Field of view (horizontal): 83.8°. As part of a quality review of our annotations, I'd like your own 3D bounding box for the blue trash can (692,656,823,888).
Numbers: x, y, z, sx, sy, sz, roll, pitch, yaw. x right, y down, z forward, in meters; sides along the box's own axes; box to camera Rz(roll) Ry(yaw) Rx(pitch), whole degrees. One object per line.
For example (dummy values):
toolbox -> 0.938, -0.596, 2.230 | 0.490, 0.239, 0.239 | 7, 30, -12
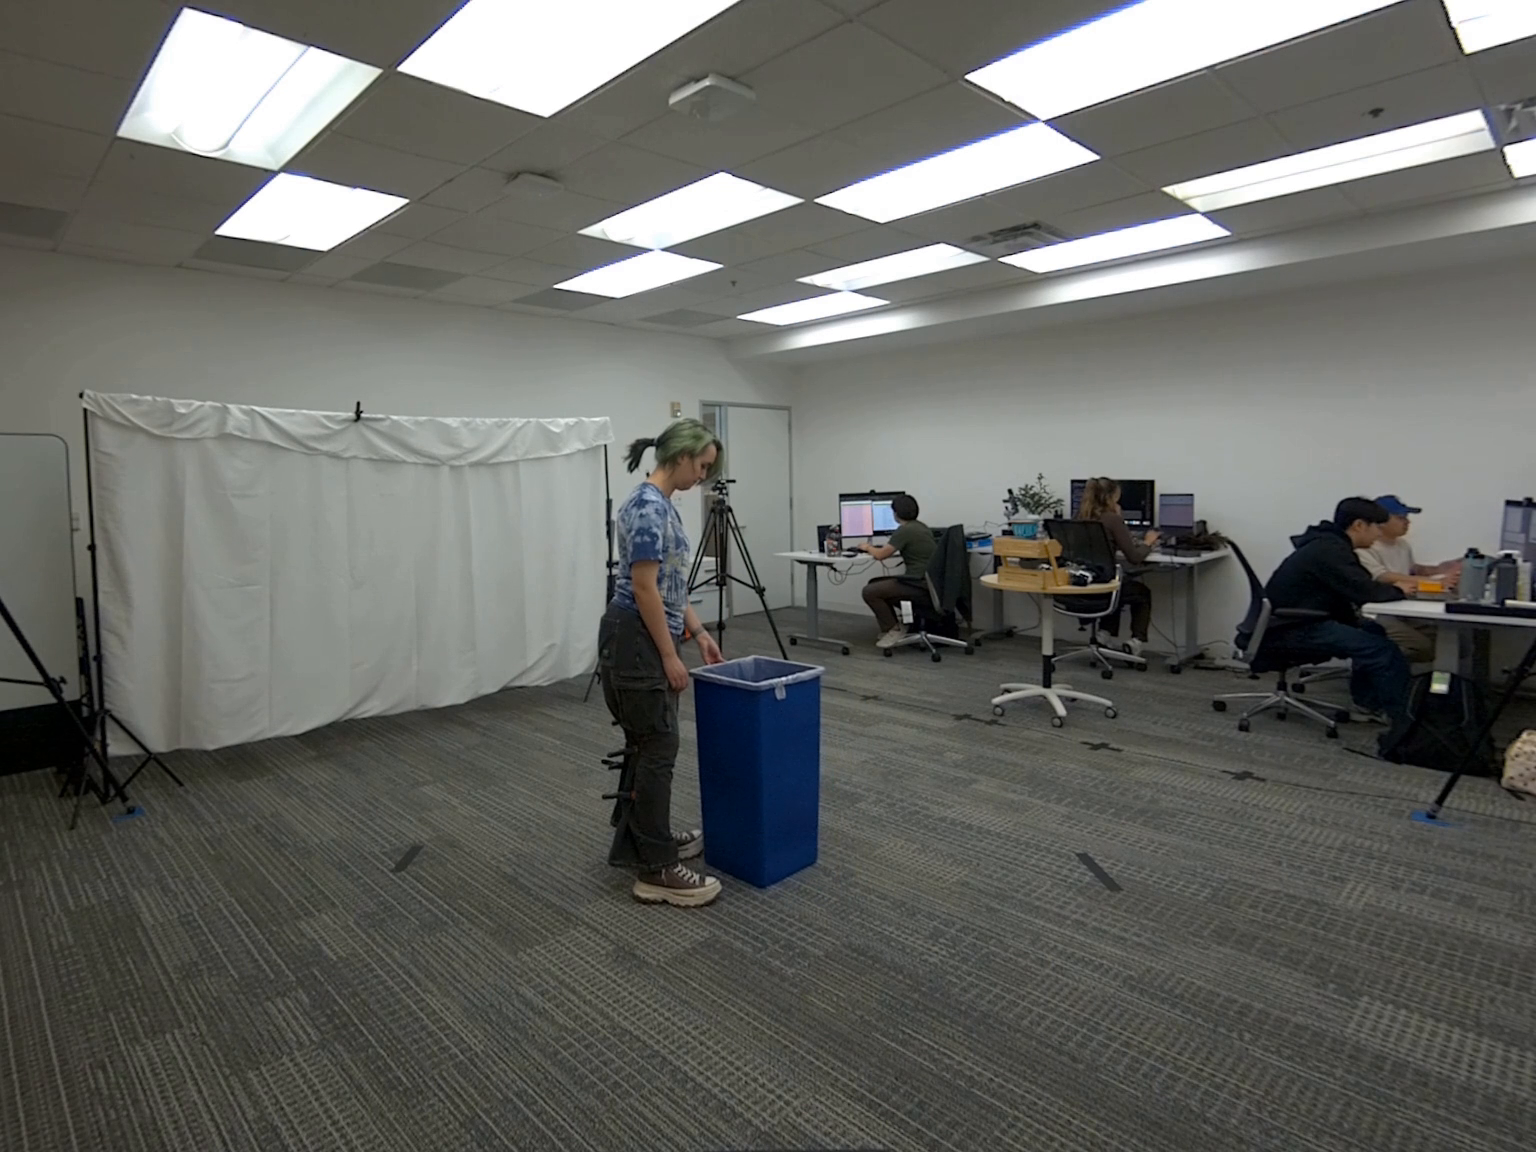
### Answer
blue trash can -> -0.033, 0.688, 3.103 | 0.368, 0.711, 0.385 | -4, 5, -45
